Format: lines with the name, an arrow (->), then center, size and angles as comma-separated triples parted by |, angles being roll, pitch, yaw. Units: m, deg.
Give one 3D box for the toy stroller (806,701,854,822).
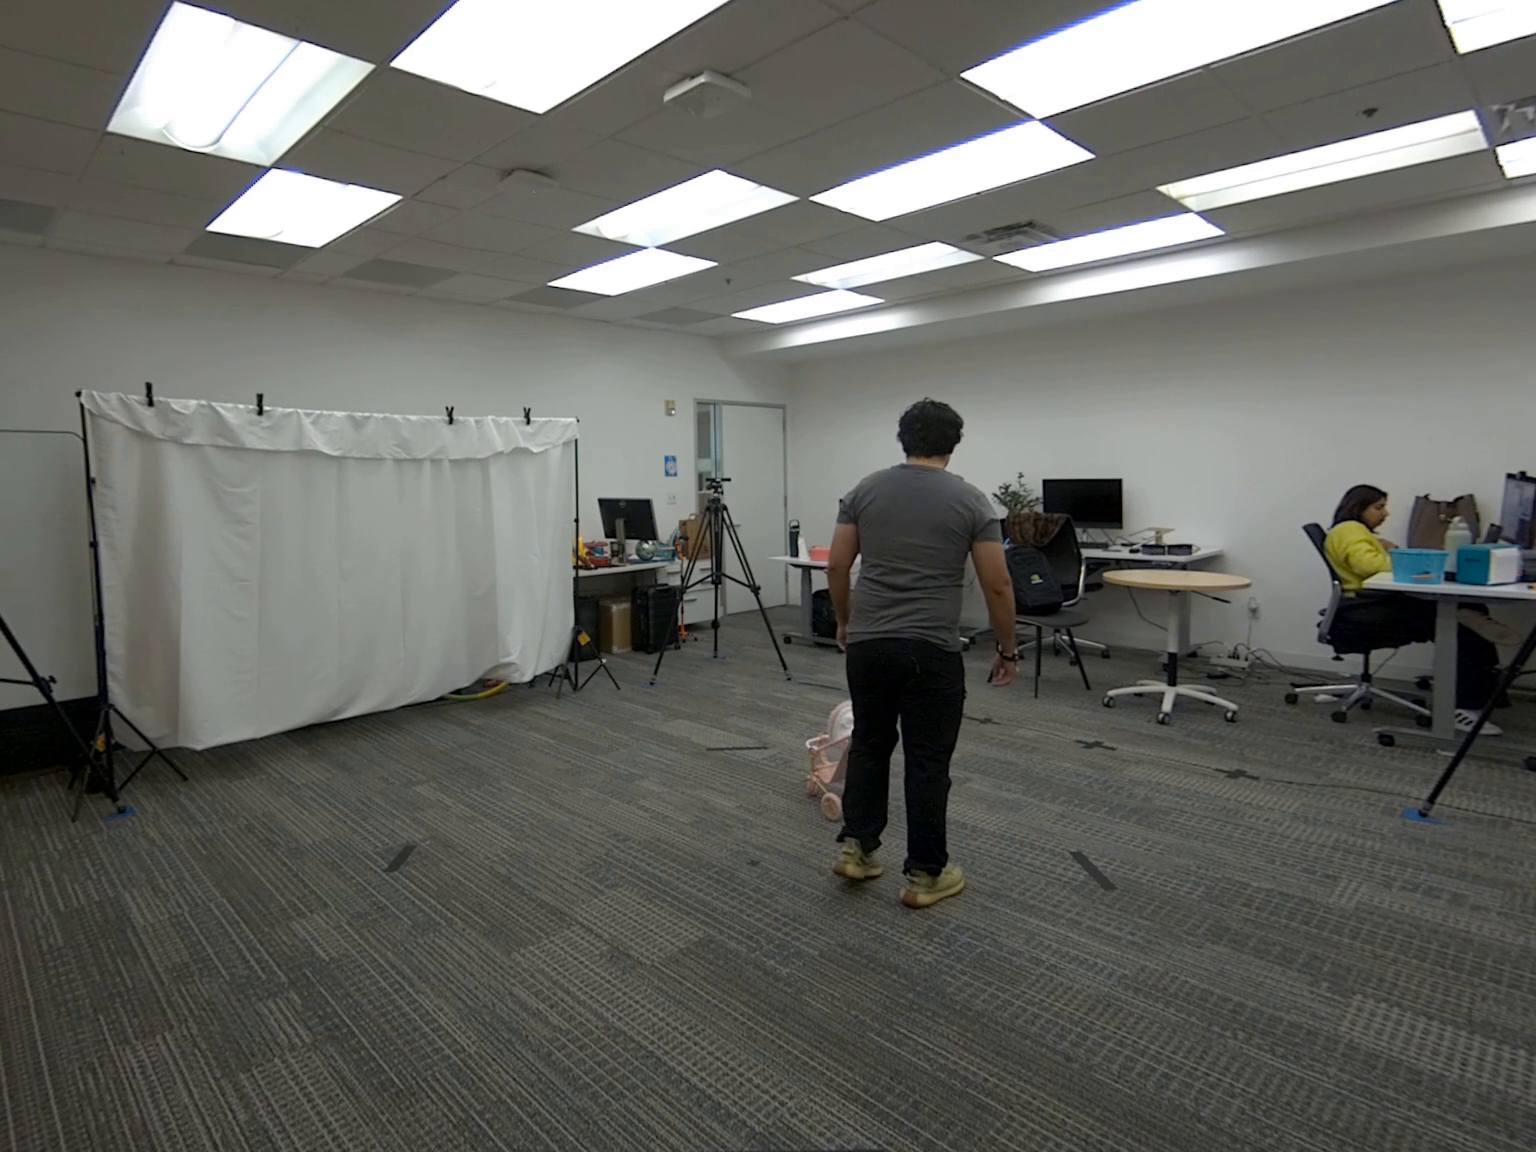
toy stroller -> 0.322, 0.758, 3.594 | 0.274, 0.528, 0.354 | -3, 22, -35
